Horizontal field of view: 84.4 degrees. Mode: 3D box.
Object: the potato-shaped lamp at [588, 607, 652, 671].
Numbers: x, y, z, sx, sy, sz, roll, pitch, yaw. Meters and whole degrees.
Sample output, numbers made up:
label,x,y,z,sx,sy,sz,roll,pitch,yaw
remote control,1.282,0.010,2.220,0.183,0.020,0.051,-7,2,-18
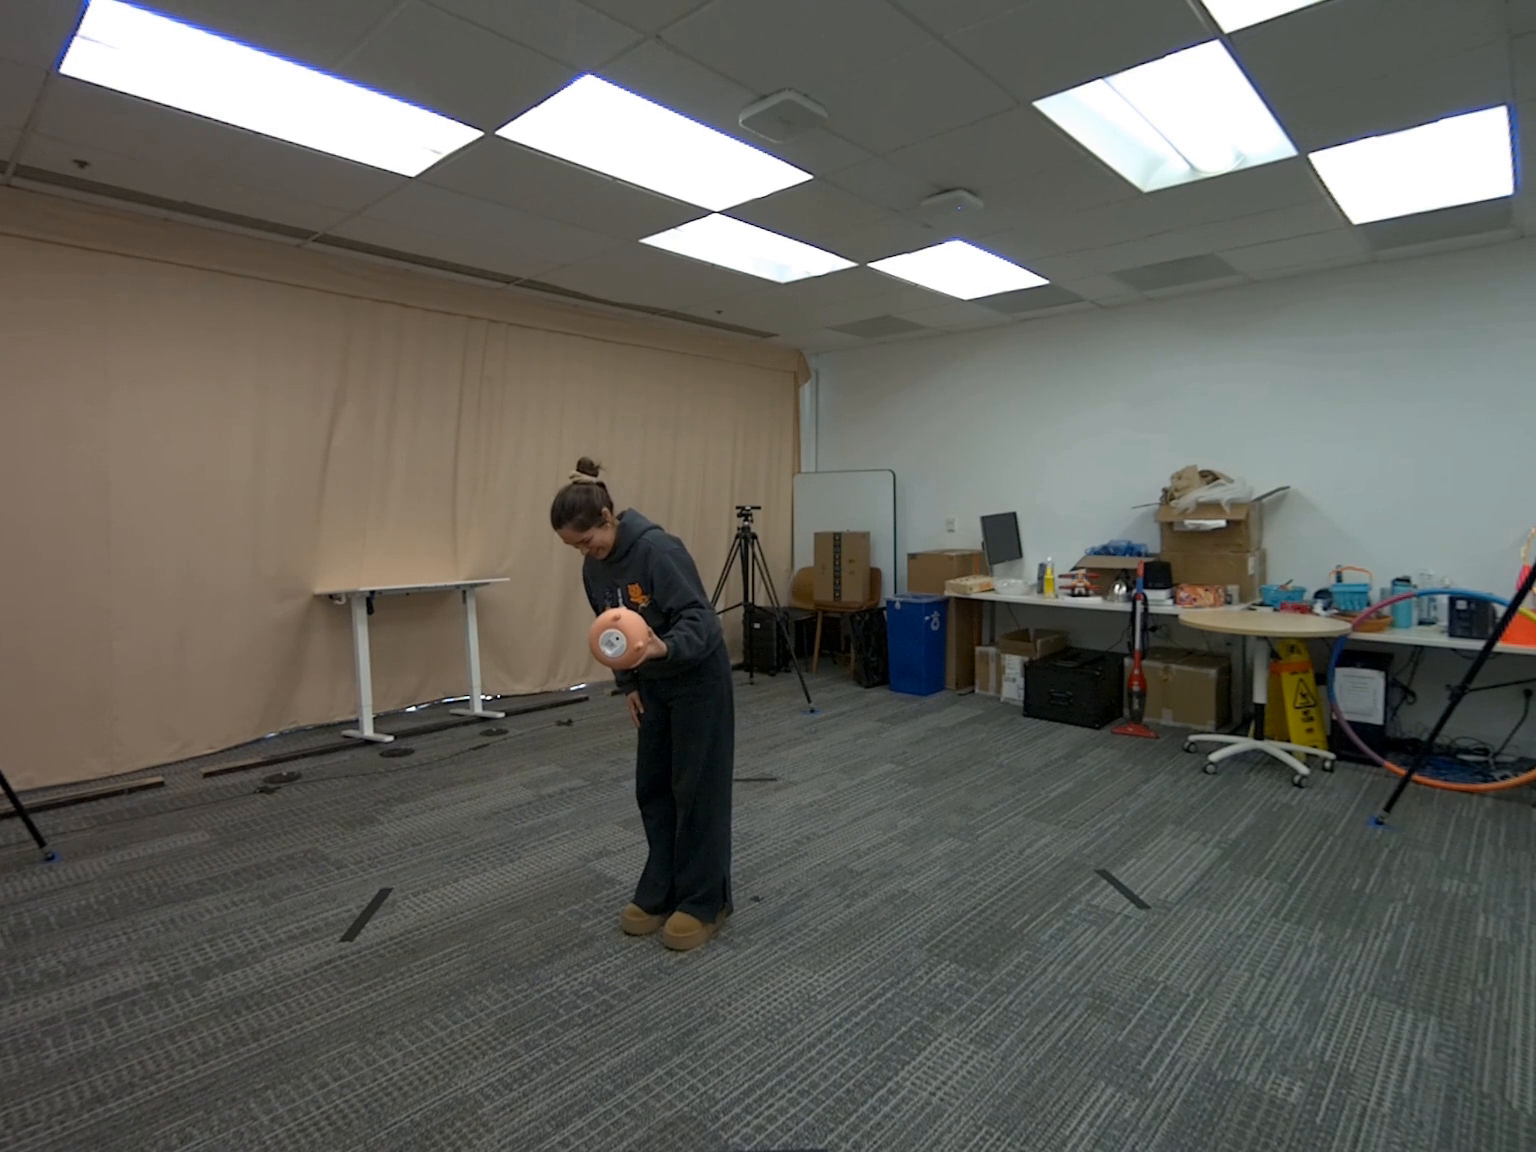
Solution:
label,x,y,z,sx,sy,sz,roll,pitch,yaw
potato-shaped lamp,-0.403,0.168,2.375,0.172,0.165,0.197,-39,2,16
